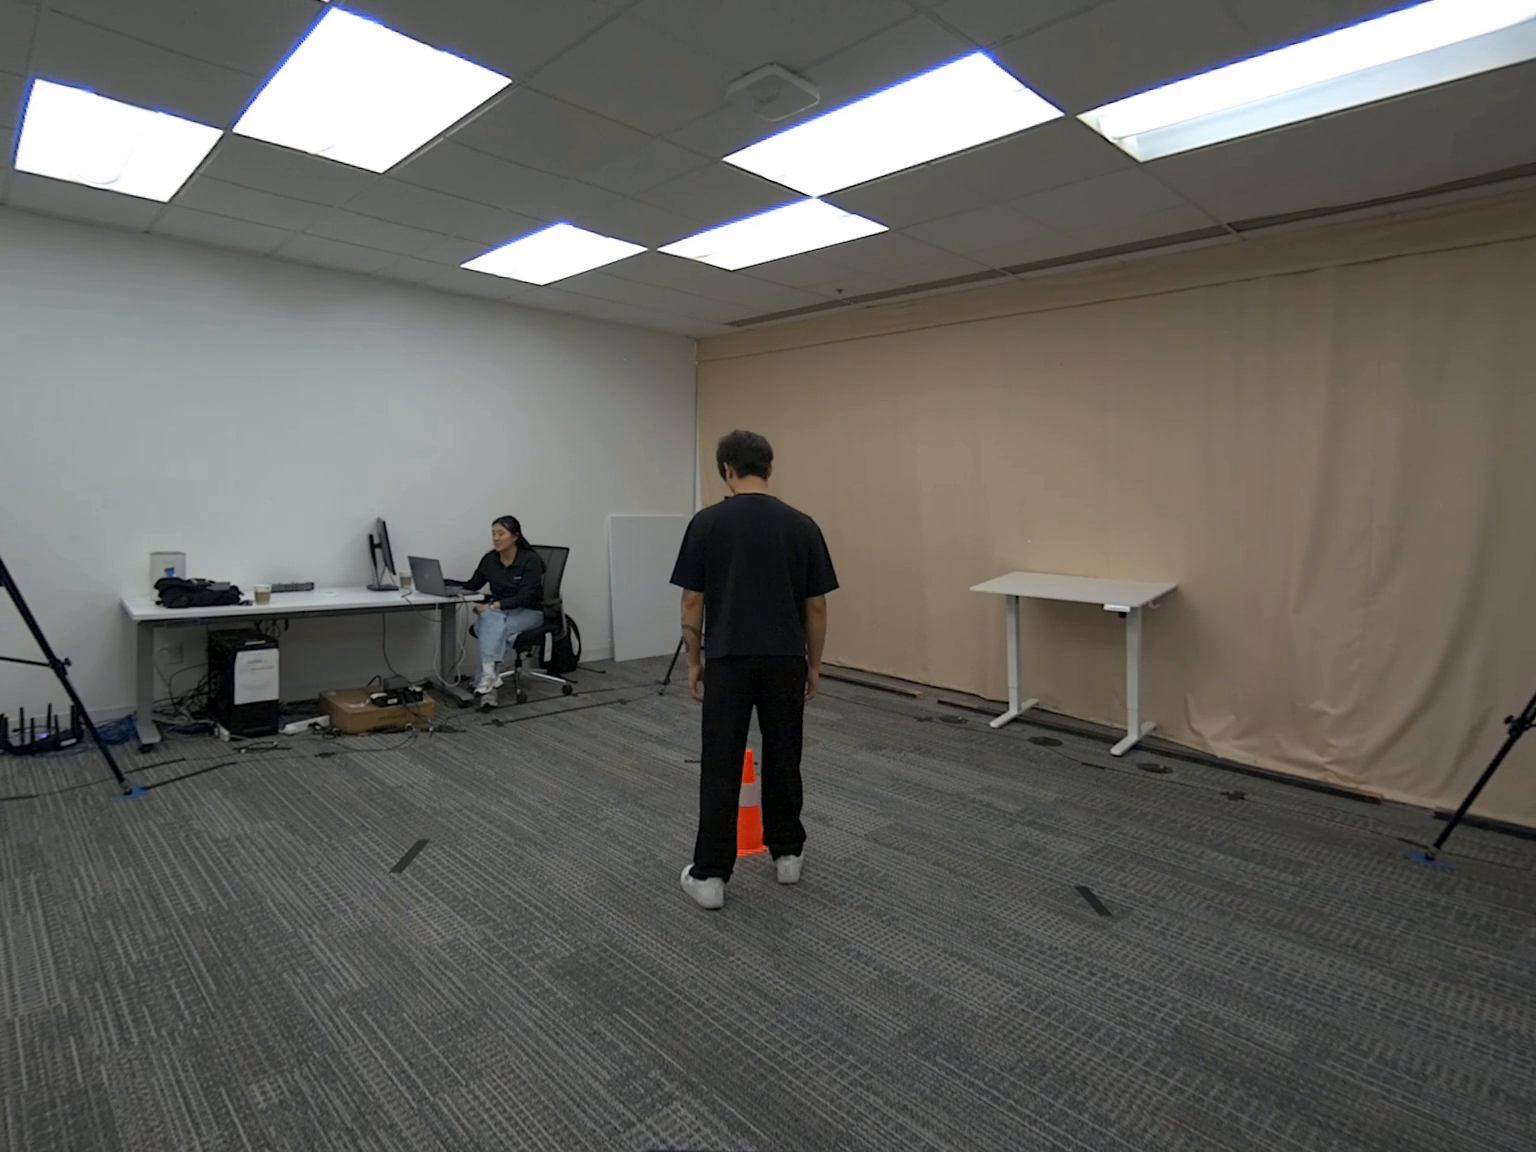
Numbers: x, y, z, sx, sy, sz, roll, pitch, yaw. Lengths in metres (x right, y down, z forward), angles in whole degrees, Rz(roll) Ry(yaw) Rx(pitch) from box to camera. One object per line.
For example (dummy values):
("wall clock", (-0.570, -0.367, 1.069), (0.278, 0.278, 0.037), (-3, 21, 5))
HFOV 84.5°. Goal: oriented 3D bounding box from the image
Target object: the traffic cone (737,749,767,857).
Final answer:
("traffic cone", (-0.084, 0.896, 3.394), (0.201, 0.383, 0.208), (0, 4, -30))
